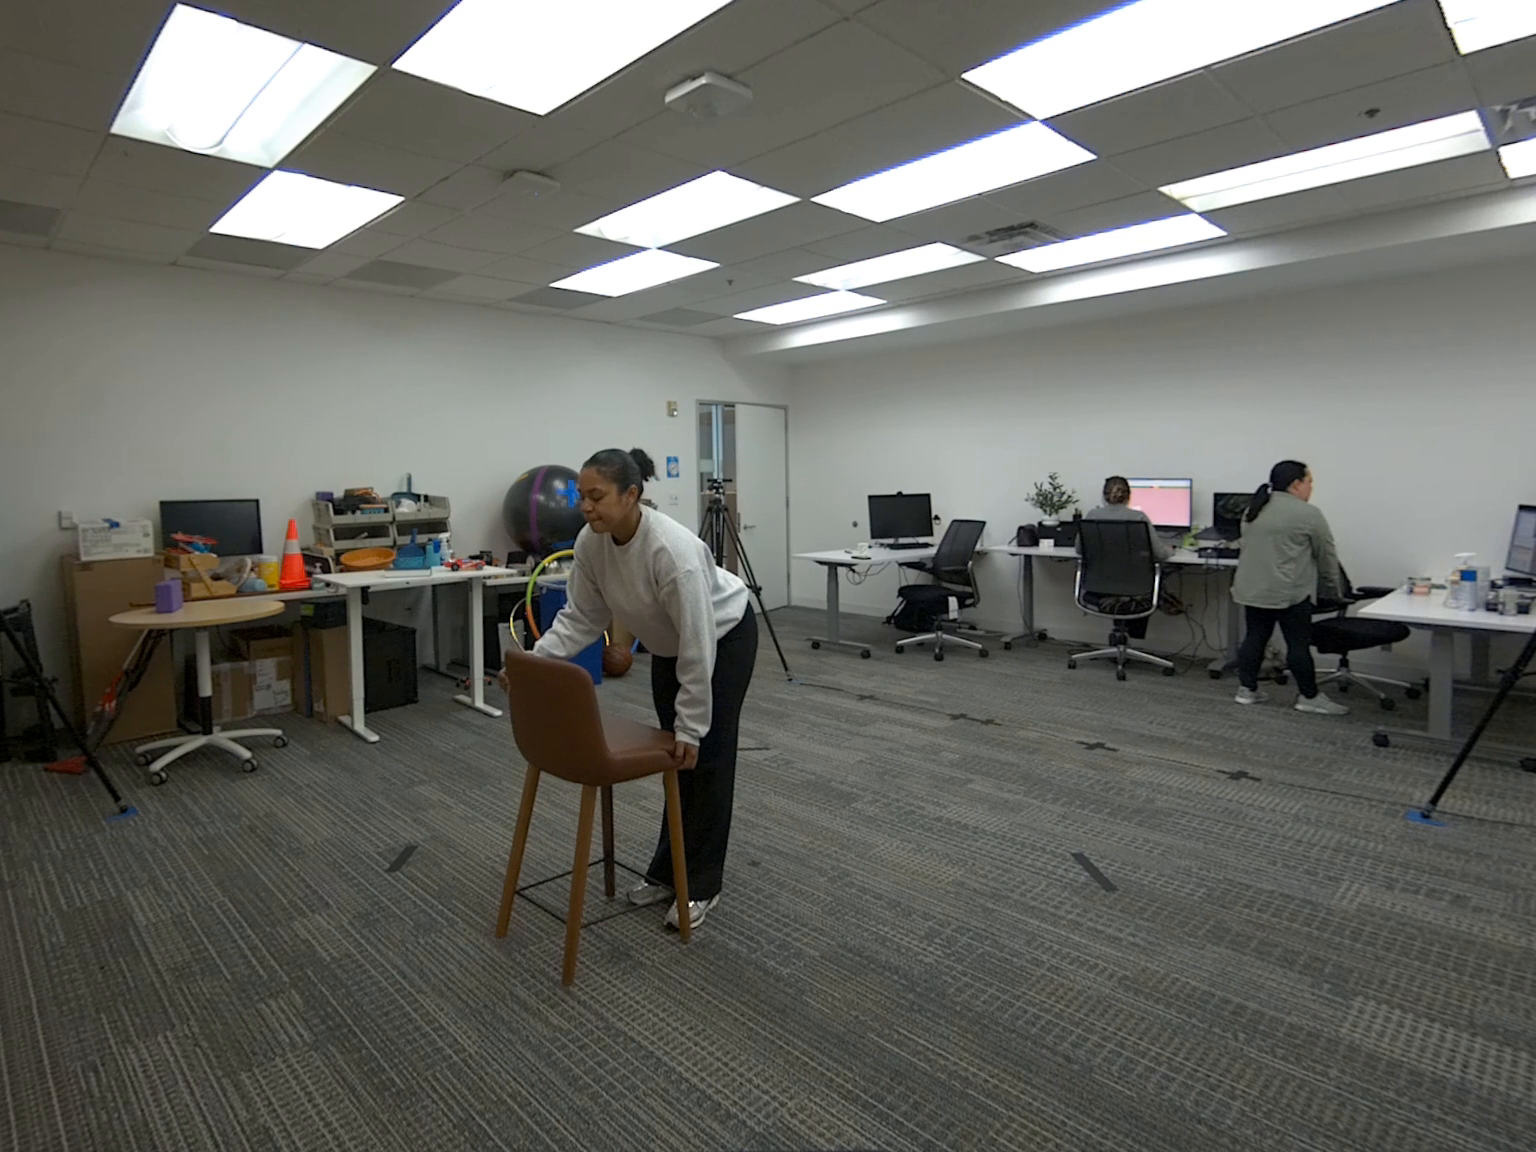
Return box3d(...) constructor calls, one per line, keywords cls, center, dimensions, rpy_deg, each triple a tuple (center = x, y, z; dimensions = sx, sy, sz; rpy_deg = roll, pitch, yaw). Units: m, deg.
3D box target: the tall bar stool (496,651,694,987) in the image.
box3d(cls="tall bar stool", center=(-0.515, 0.649, 2.567), dimensions=(0.470, 0.888, 0.454), rpy_deg=(3, 3, 45))
